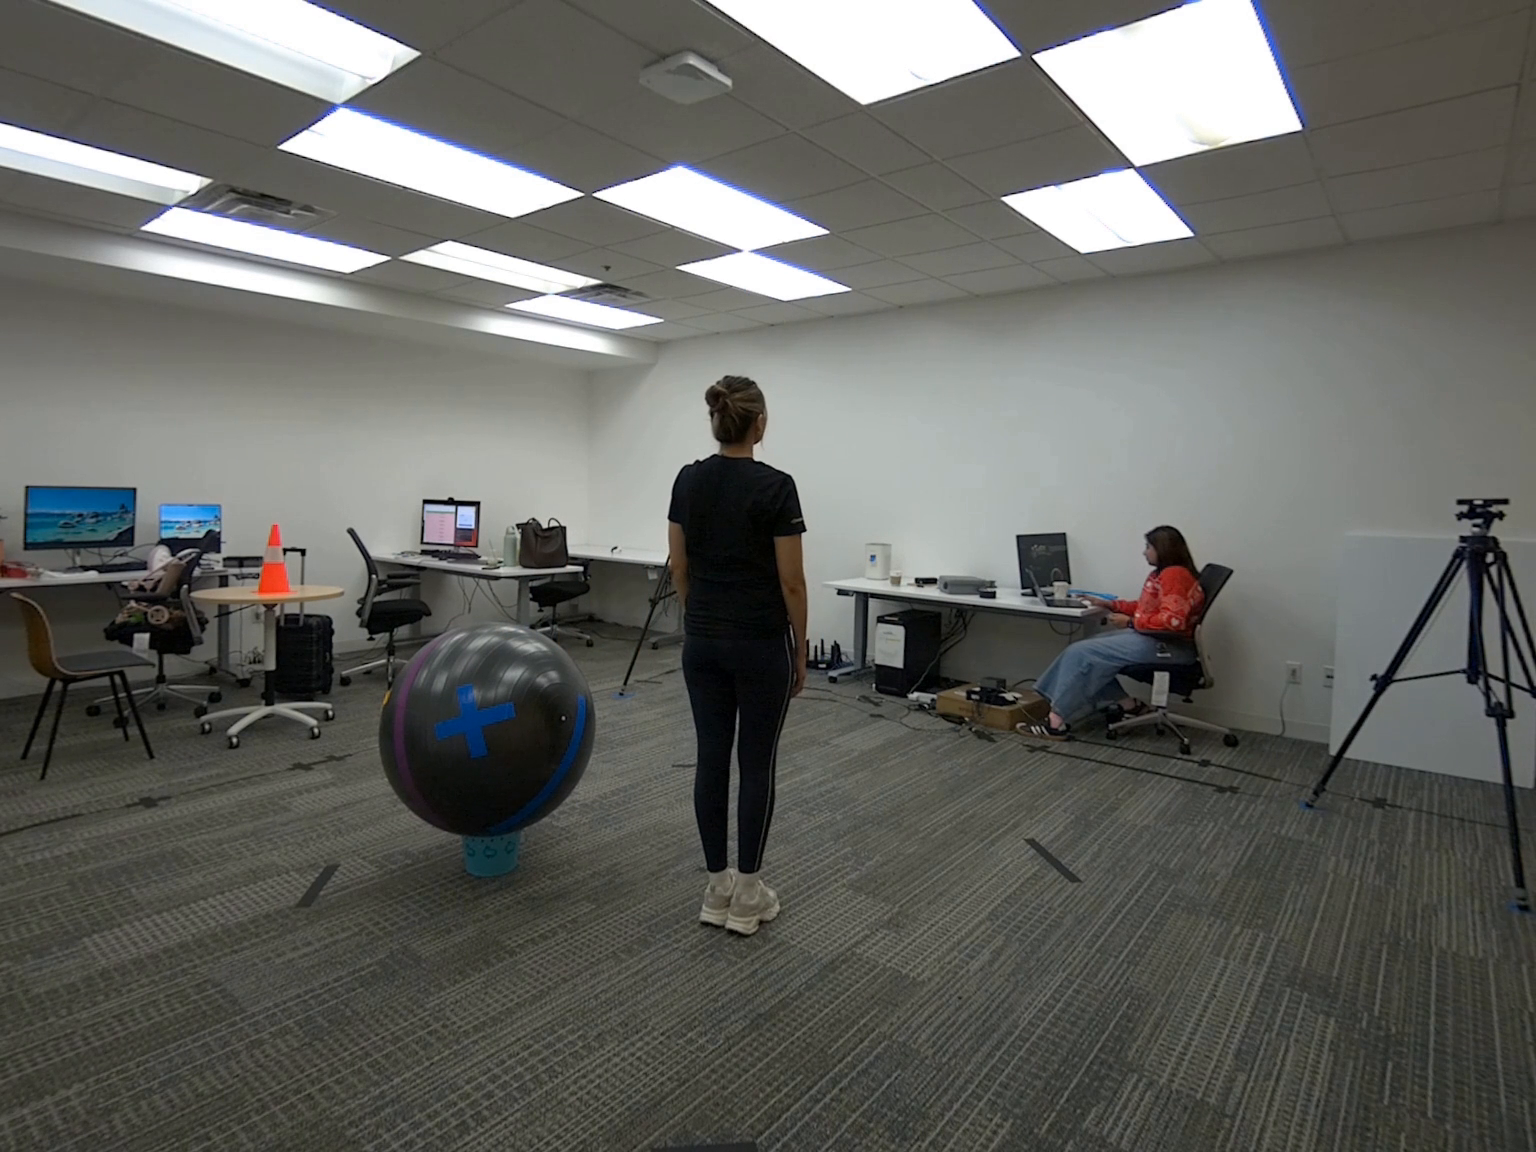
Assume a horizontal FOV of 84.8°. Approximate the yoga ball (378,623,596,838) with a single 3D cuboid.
[{"bbox_3d":[-1.023,0.553,3.084,0.757,0.756,0.762,1,4,-2],"label":"yoga ball"}]
